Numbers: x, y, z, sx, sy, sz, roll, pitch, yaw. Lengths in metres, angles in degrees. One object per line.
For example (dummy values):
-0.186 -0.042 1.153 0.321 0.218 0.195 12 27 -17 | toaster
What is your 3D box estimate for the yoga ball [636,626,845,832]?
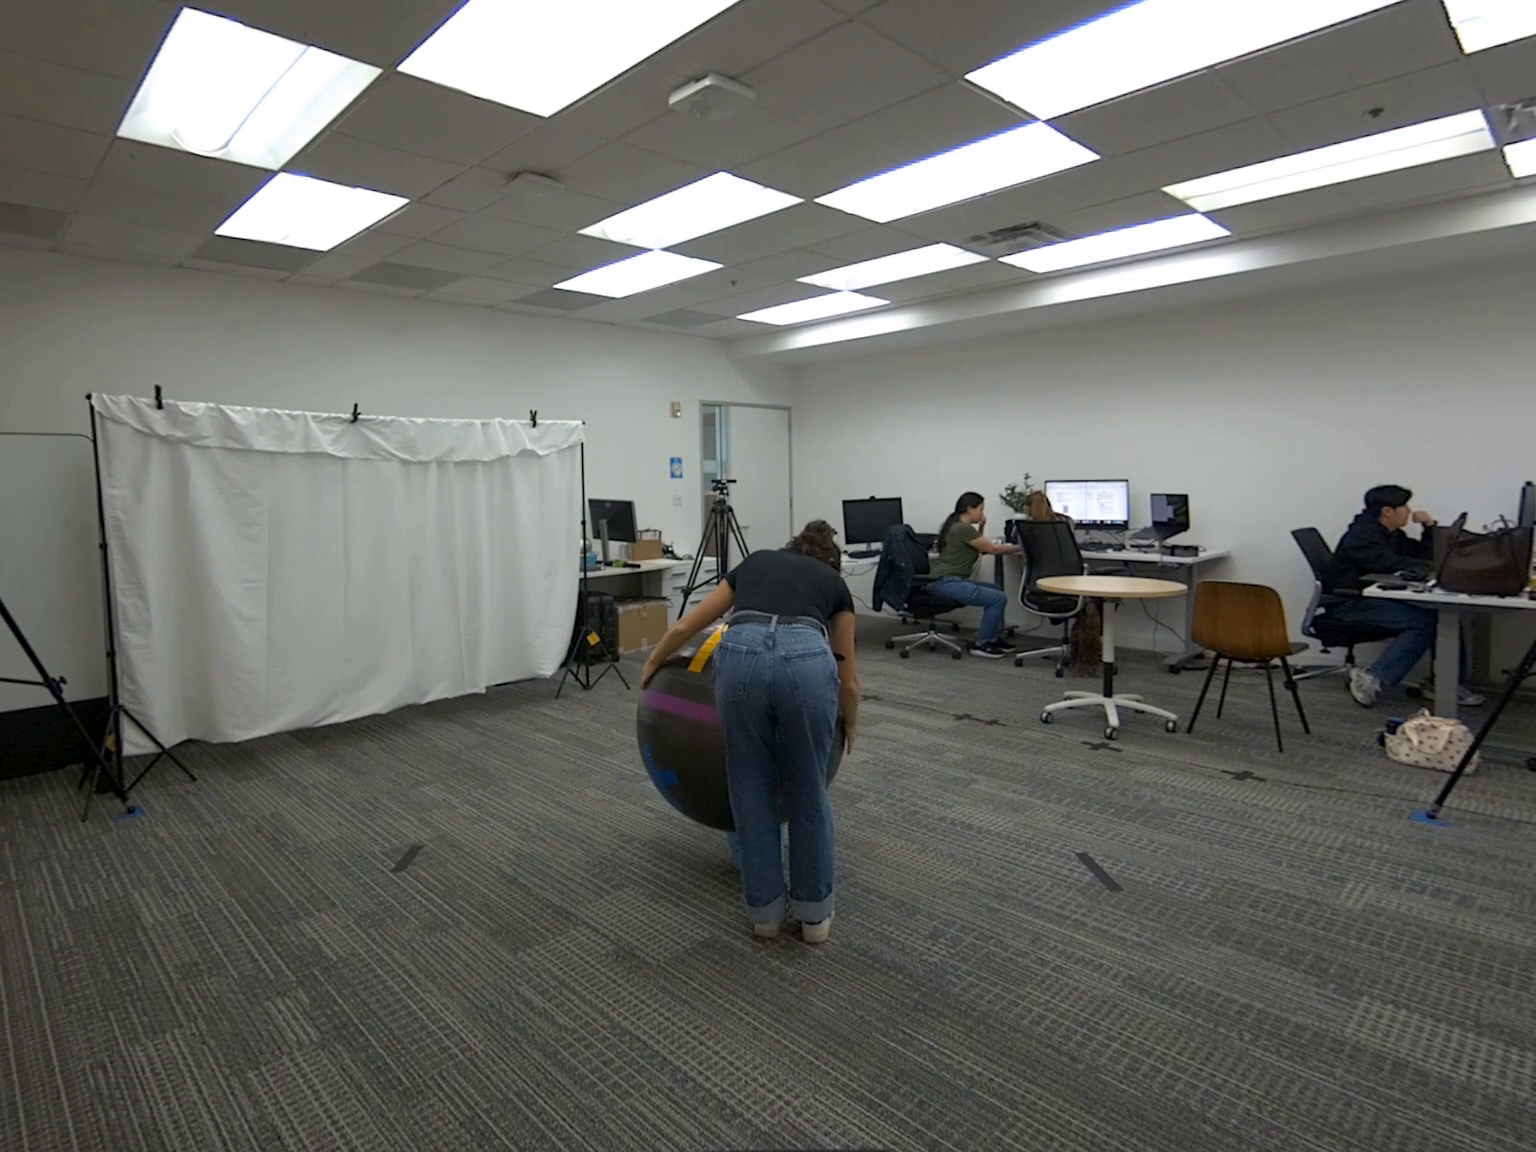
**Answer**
-0.099 0.531 3.108 0.757 0.755 0.762 -1 5 -2 | yoga ball
